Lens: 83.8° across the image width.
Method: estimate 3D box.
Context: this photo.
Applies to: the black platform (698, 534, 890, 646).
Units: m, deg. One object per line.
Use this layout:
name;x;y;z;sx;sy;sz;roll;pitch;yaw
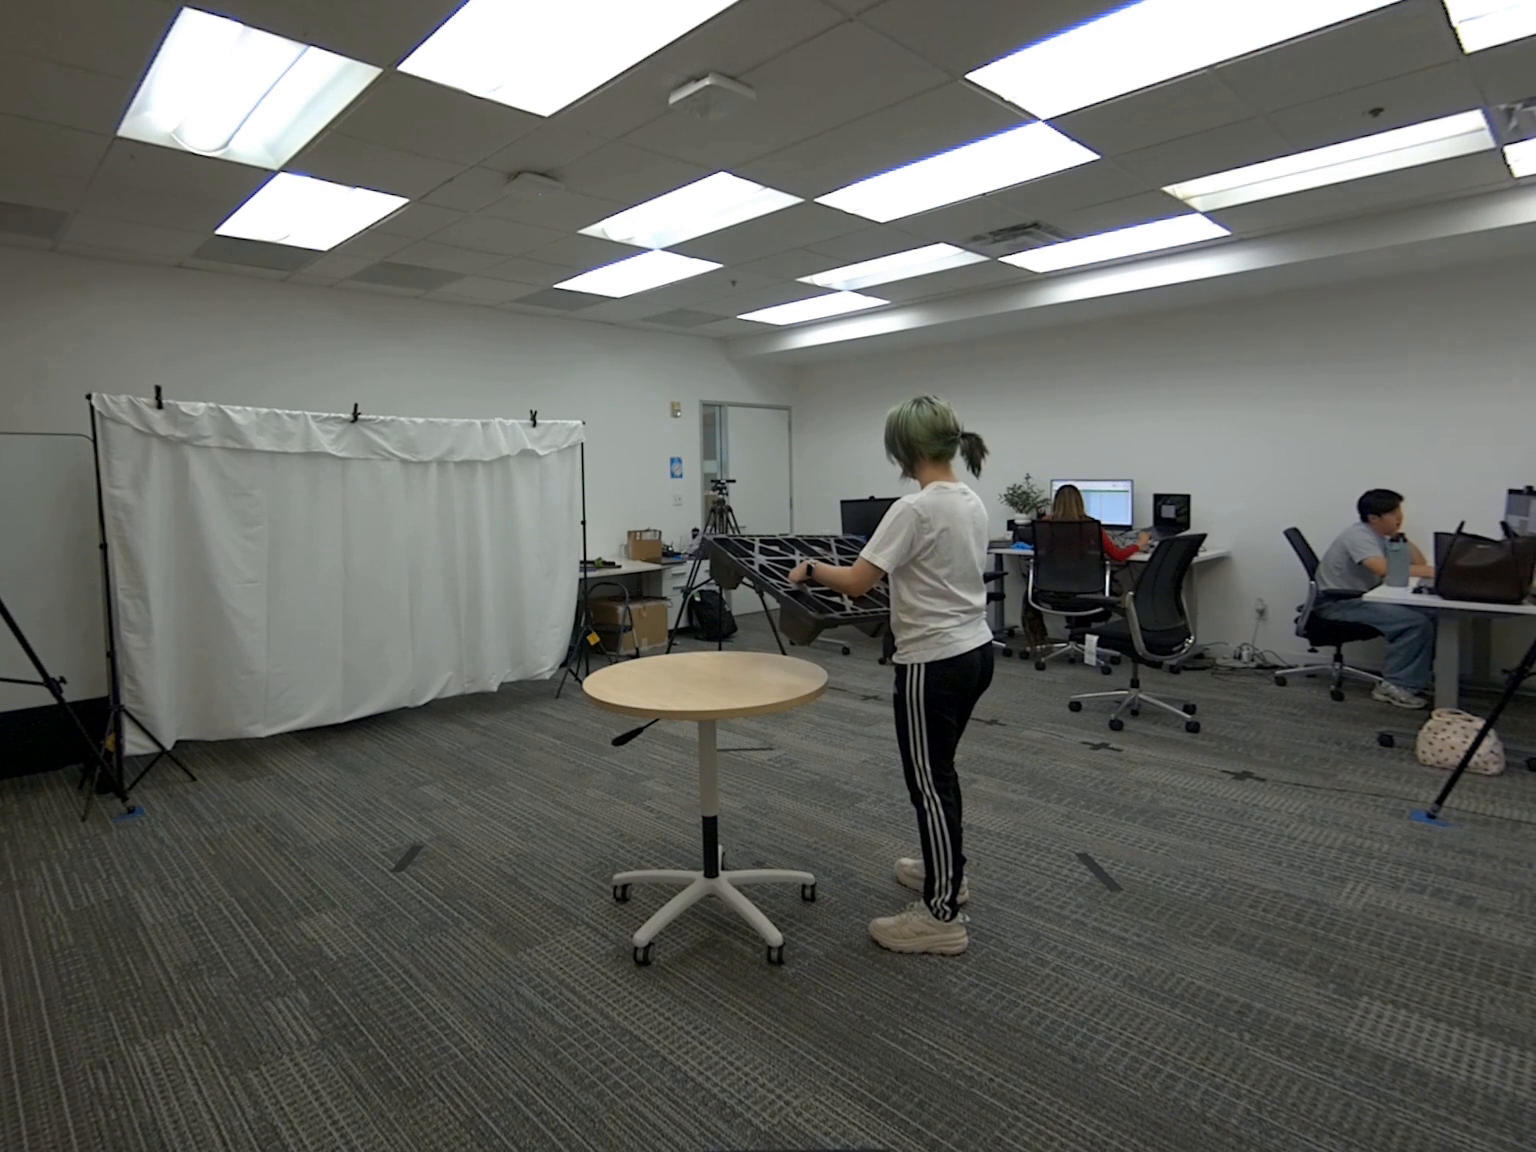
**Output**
black platform;0.217;0.033;2.960;0.782;0.142;0.629;-2;26;-43
